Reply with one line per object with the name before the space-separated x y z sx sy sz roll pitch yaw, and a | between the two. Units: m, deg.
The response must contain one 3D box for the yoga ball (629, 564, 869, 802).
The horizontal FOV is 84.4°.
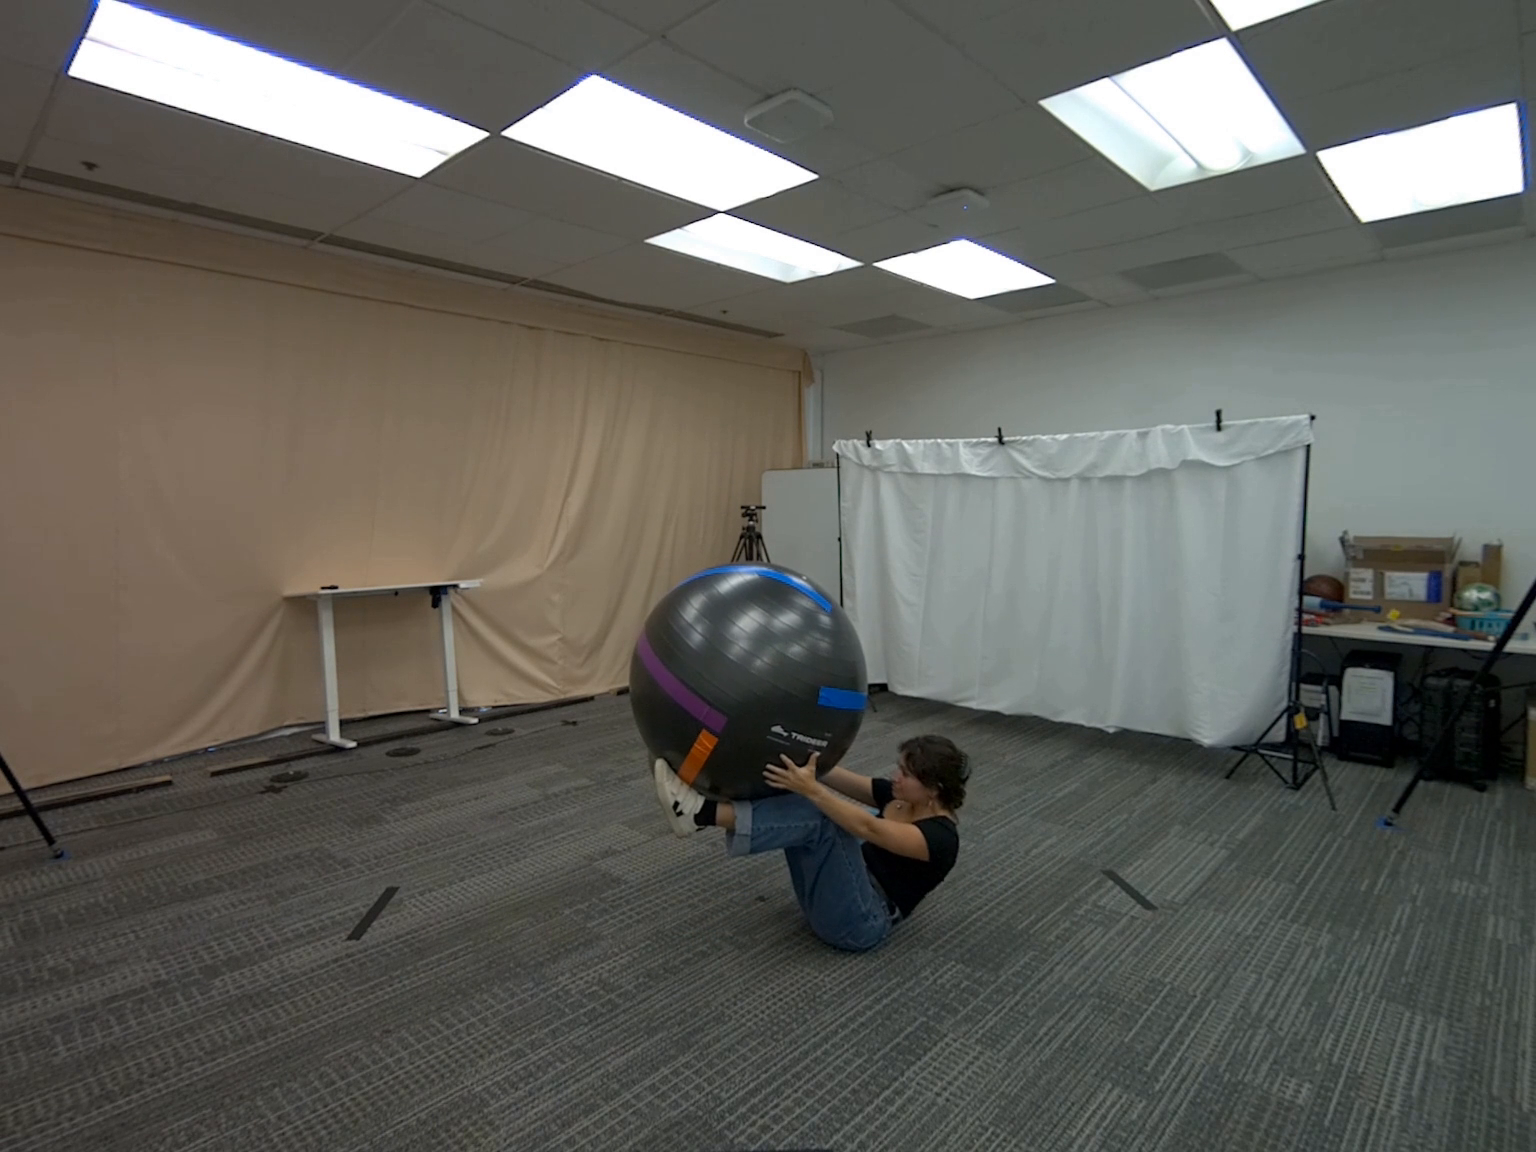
yoga ball | -0.058 0.339 2.683 0.757 0.756 0.761 0 4 -2
